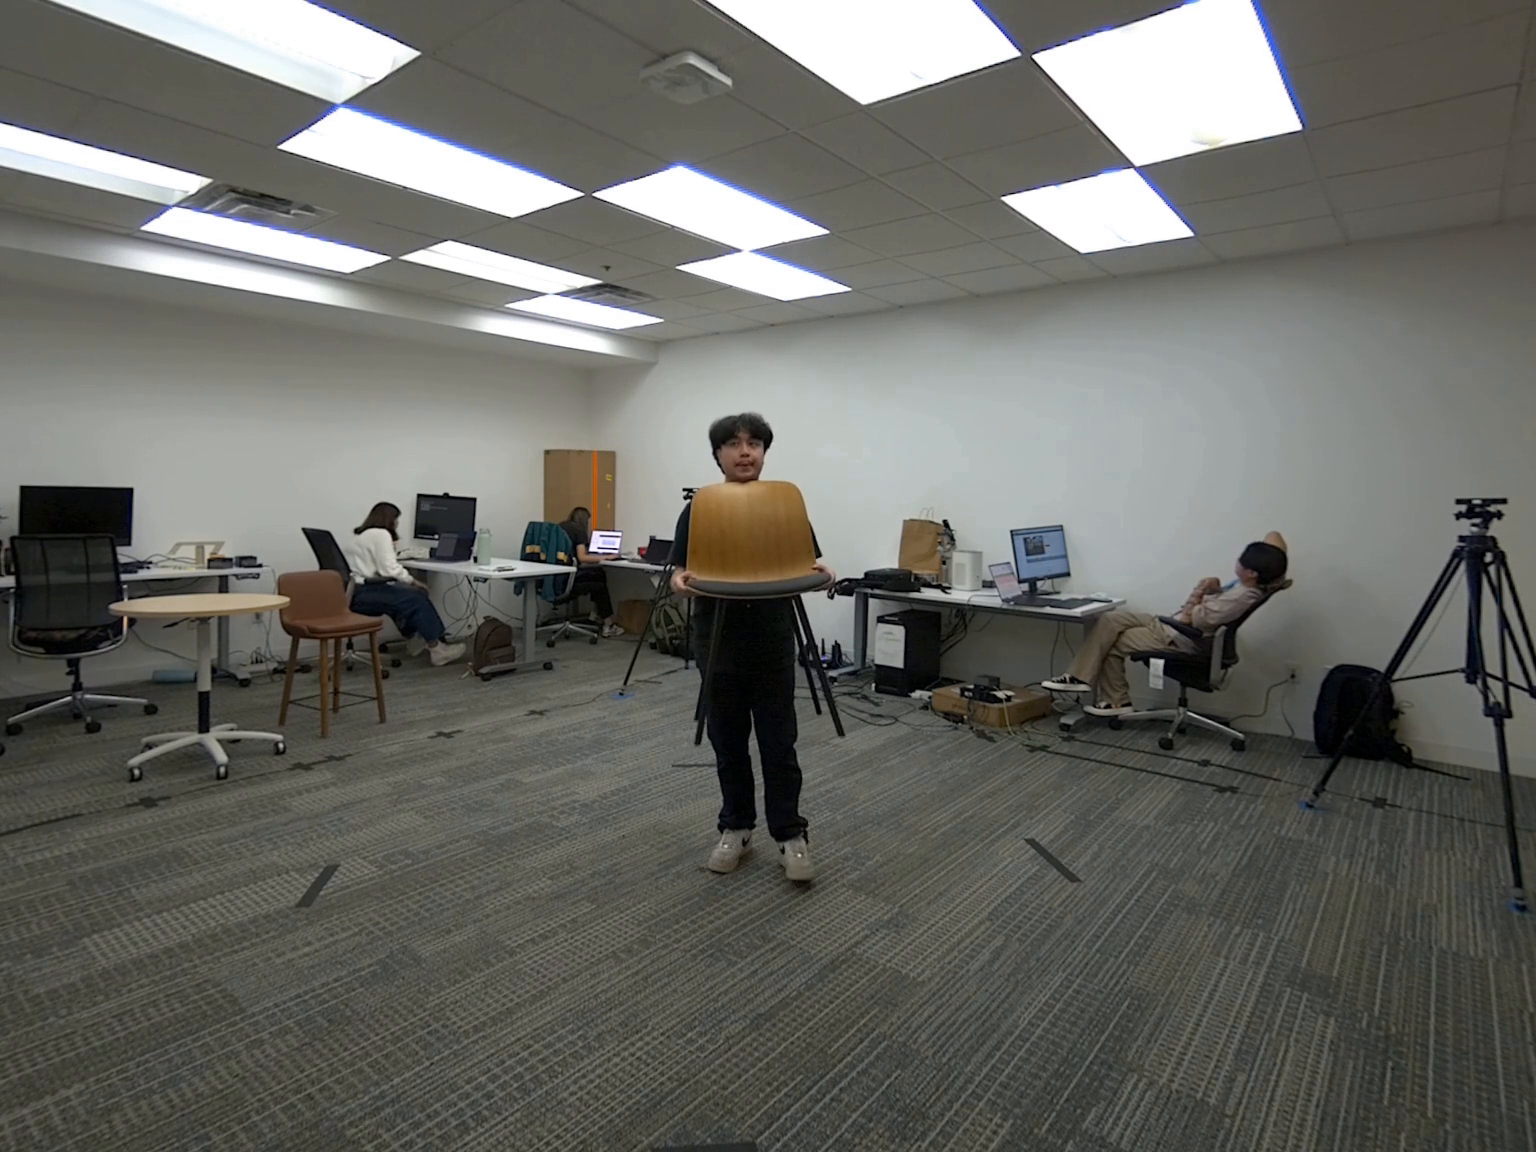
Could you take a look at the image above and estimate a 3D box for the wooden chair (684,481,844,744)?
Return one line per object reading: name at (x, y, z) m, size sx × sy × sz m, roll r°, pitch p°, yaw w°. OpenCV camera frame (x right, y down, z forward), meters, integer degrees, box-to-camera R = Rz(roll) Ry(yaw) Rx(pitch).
wooden chair at (-0.032, 0.072, 2.796) m, size 0.477 × 0.884 × 0.521 m, roll -2°, pitch -6°, yaw -3°
